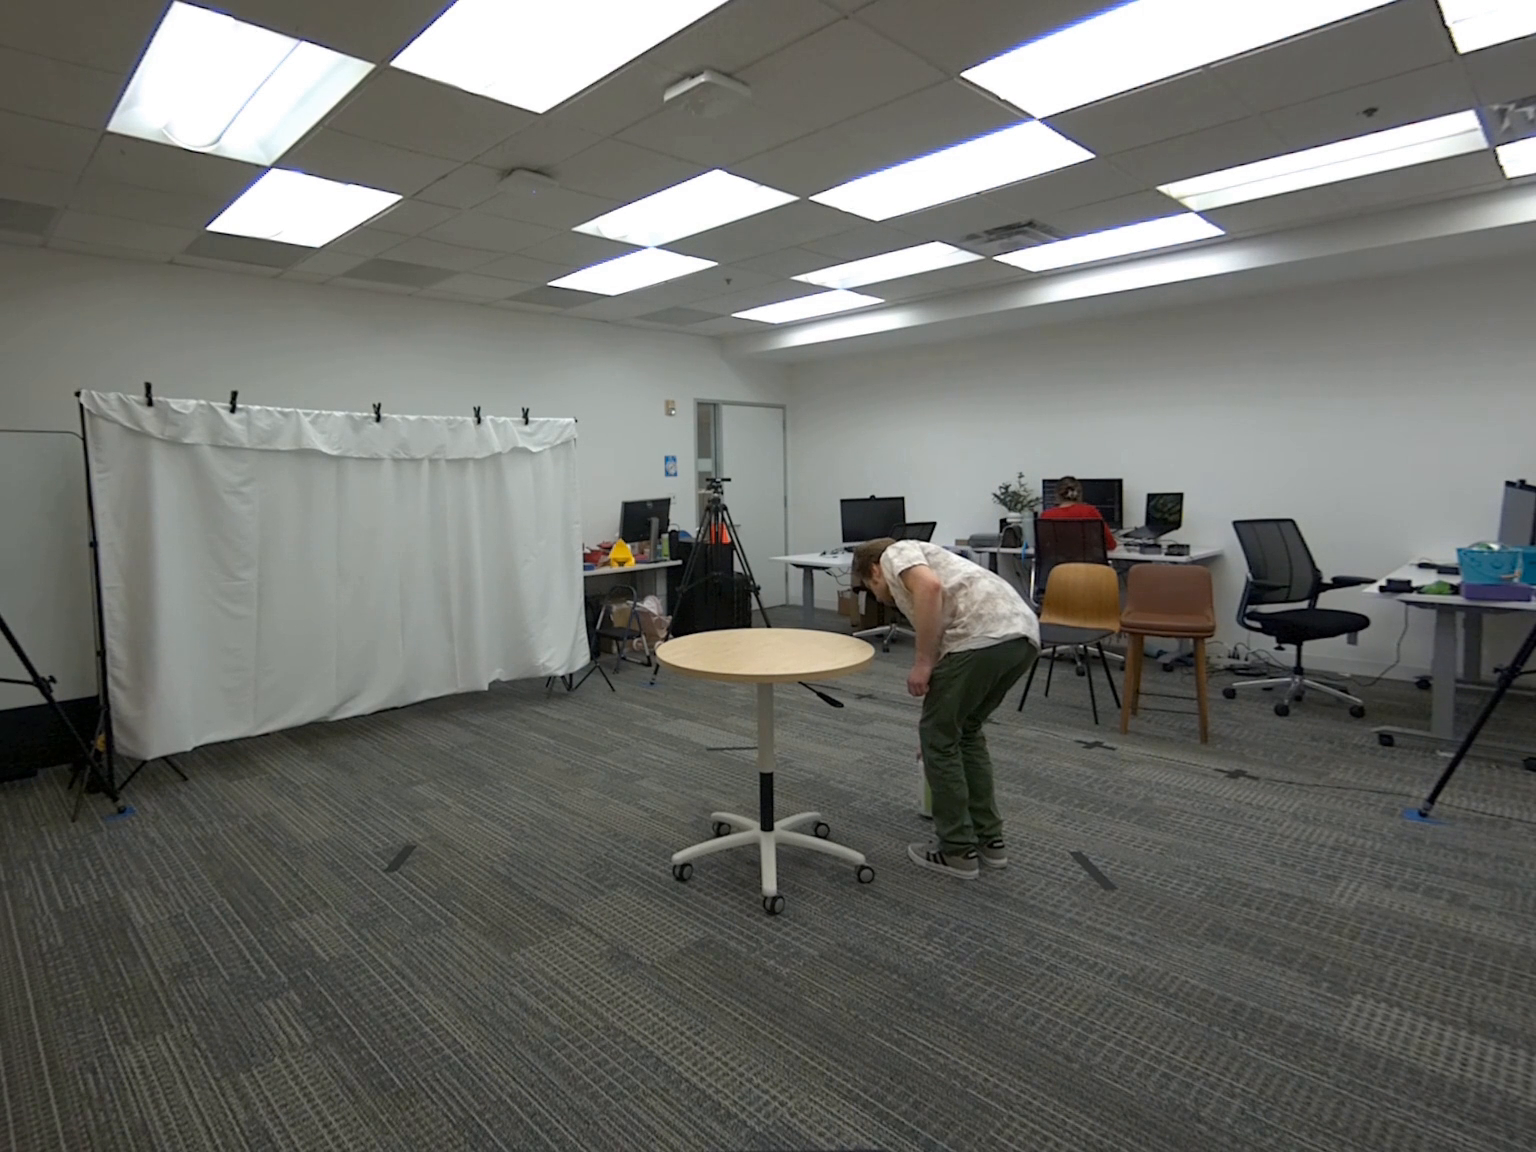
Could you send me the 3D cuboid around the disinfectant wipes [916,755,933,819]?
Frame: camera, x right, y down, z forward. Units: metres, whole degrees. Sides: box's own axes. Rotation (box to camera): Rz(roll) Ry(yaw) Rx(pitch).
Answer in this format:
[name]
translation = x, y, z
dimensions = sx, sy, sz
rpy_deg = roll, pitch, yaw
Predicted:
[disinfectant wipes]
translation = 0.679, 0.869, 3.496
dimensions = 0.118, 0.216, 0.118
rpy_deg = 0, 5, -2
